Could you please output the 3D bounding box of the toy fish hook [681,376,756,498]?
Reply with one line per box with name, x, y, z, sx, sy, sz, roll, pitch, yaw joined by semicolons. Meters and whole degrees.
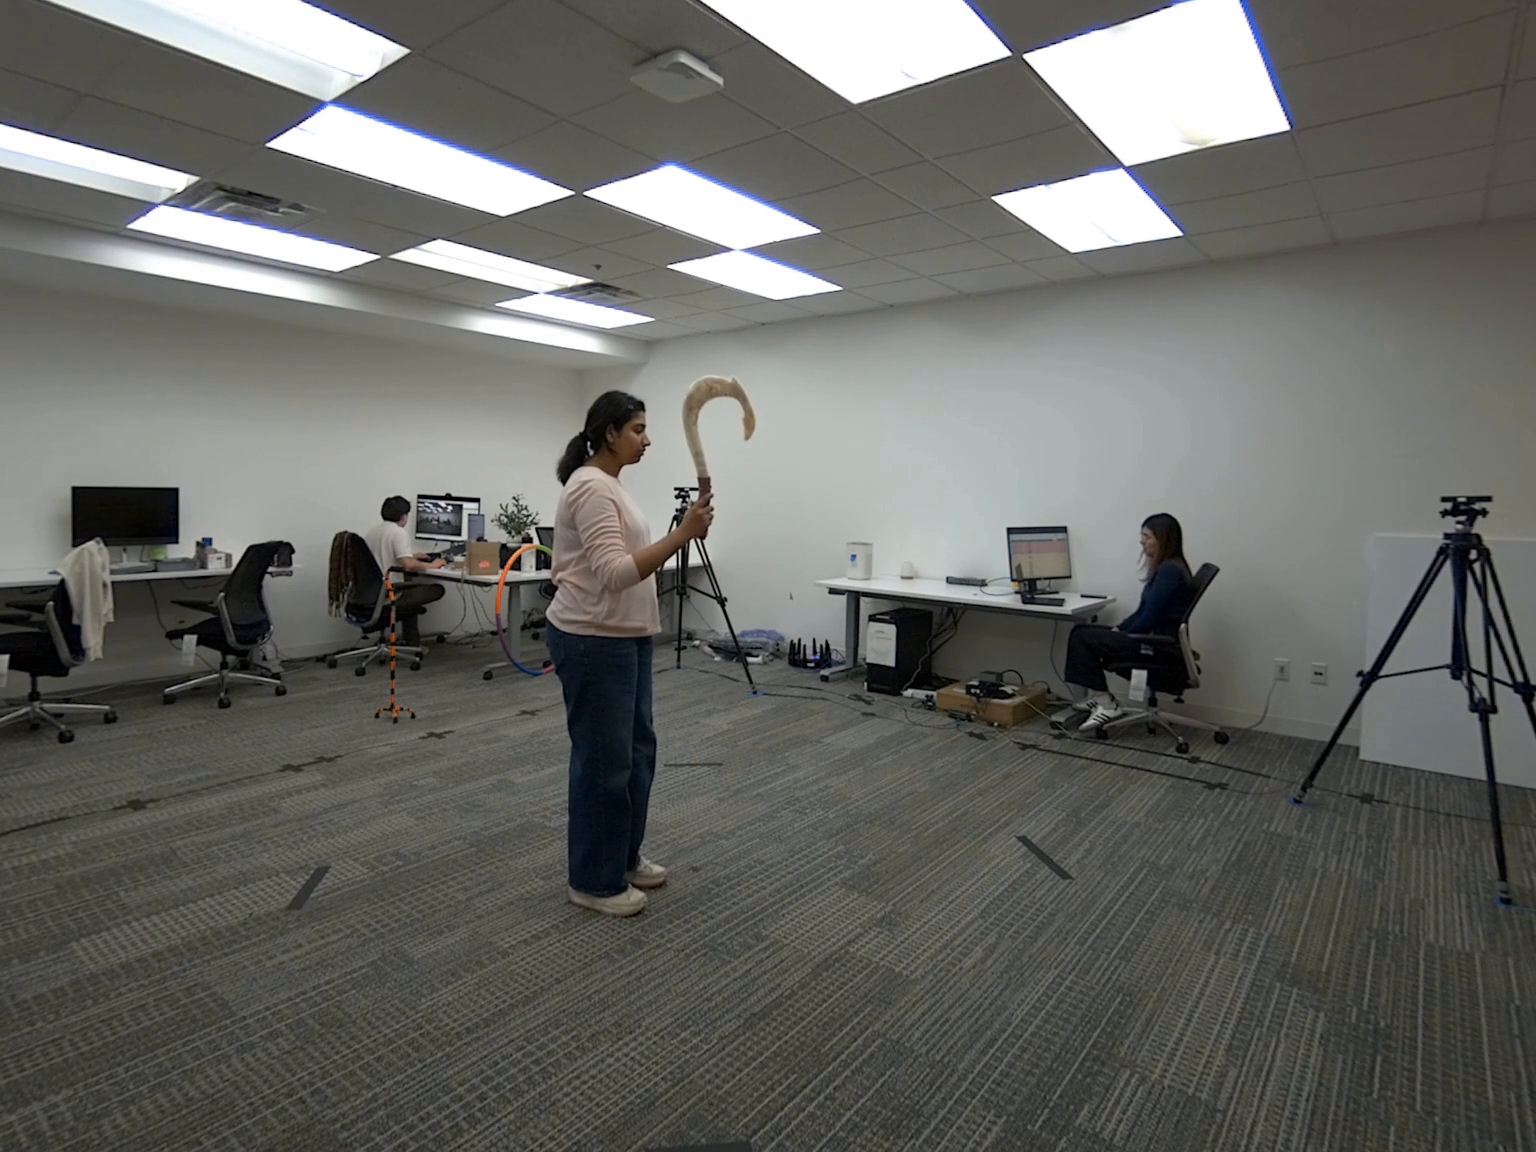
toy fish hook;-0.158;-0.352;2.630;0.225;0.503;0.048;2;7;3
